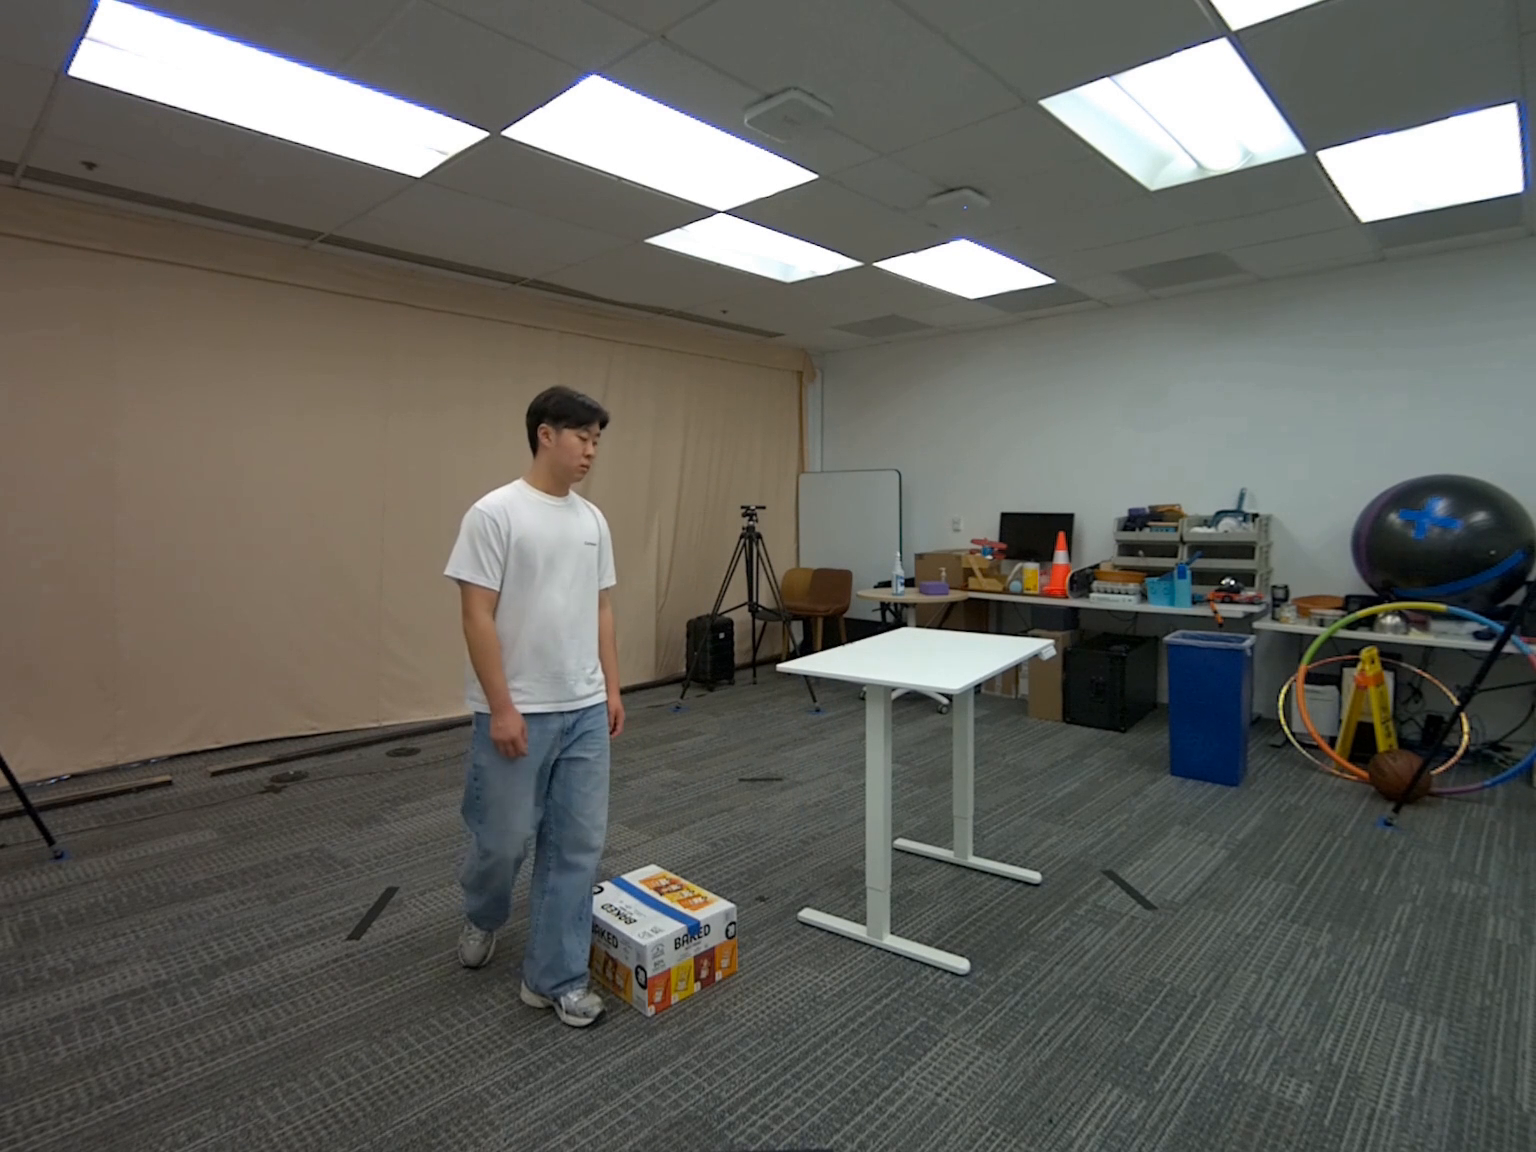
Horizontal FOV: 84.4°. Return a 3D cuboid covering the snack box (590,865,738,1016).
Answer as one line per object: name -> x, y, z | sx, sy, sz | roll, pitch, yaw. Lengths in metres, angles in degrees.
snack box -> -0.354, 1.083, 2.541 | 0.330, 0.205, 0.419 | -4, 6, -44
